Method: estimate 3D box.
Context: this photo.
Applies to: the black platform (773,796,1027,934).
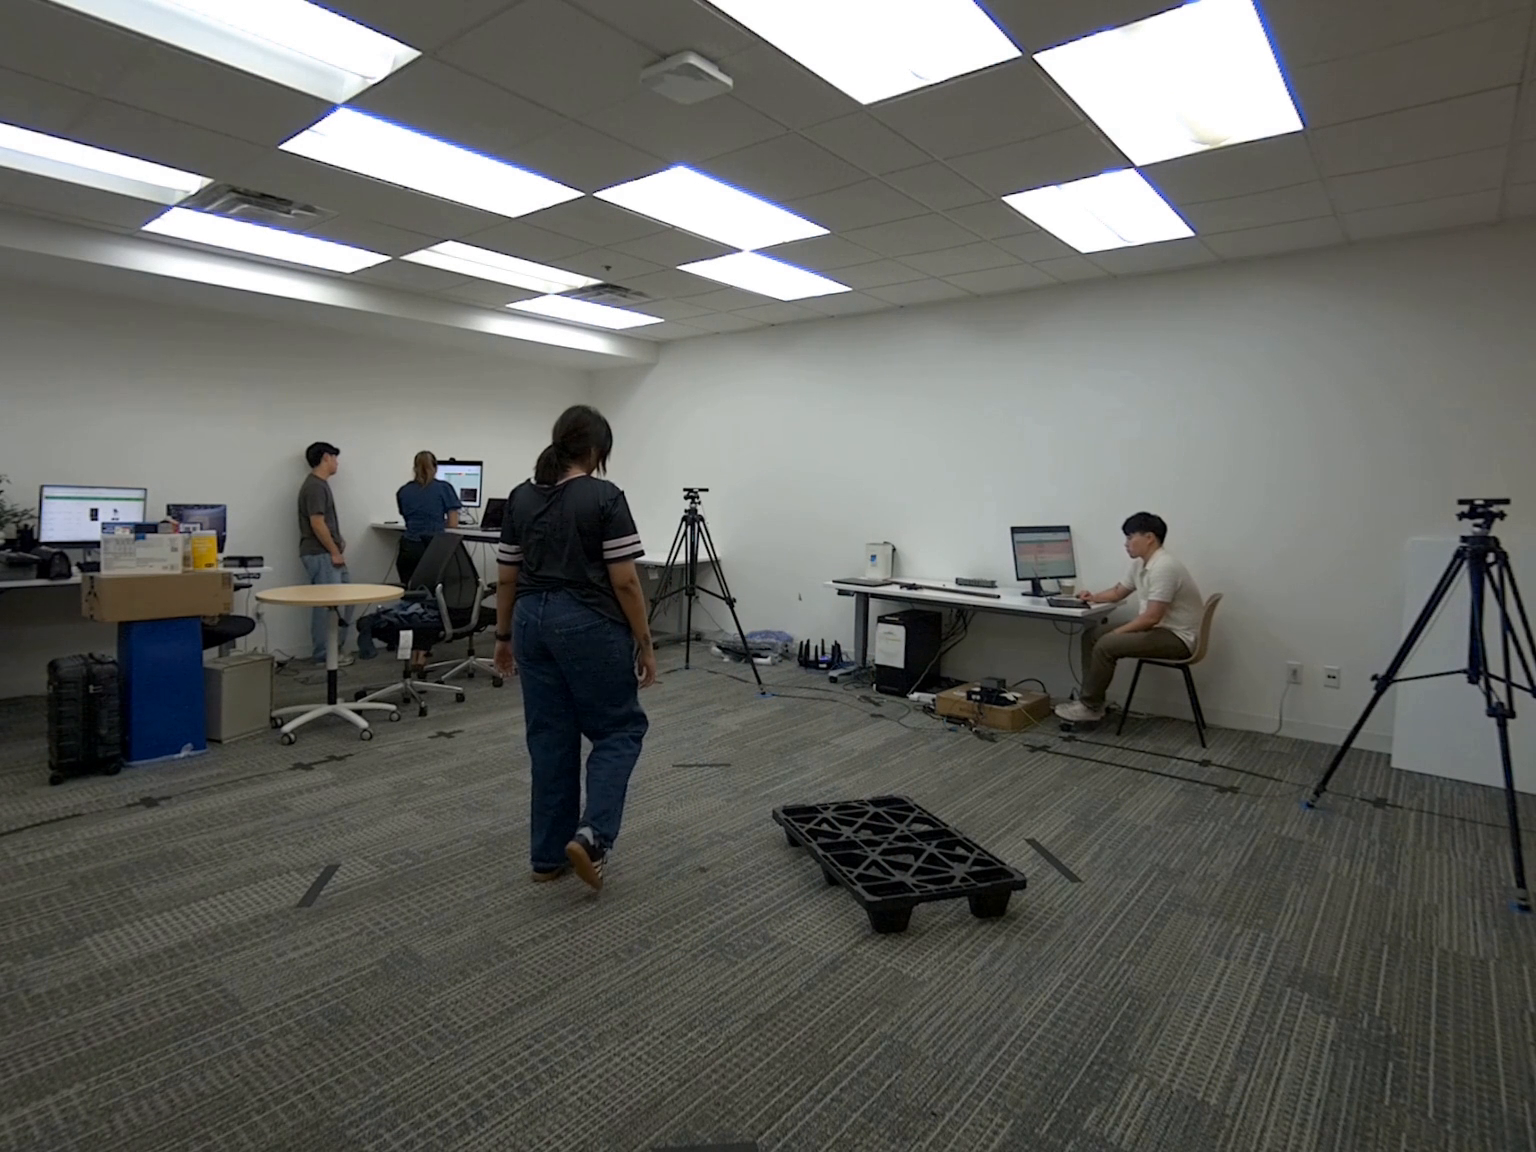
[{"bbox_3d":[0.425,1.018,3.086,0.593,0.143,0.825,-1,6,-20],"label":"black platform"}]
